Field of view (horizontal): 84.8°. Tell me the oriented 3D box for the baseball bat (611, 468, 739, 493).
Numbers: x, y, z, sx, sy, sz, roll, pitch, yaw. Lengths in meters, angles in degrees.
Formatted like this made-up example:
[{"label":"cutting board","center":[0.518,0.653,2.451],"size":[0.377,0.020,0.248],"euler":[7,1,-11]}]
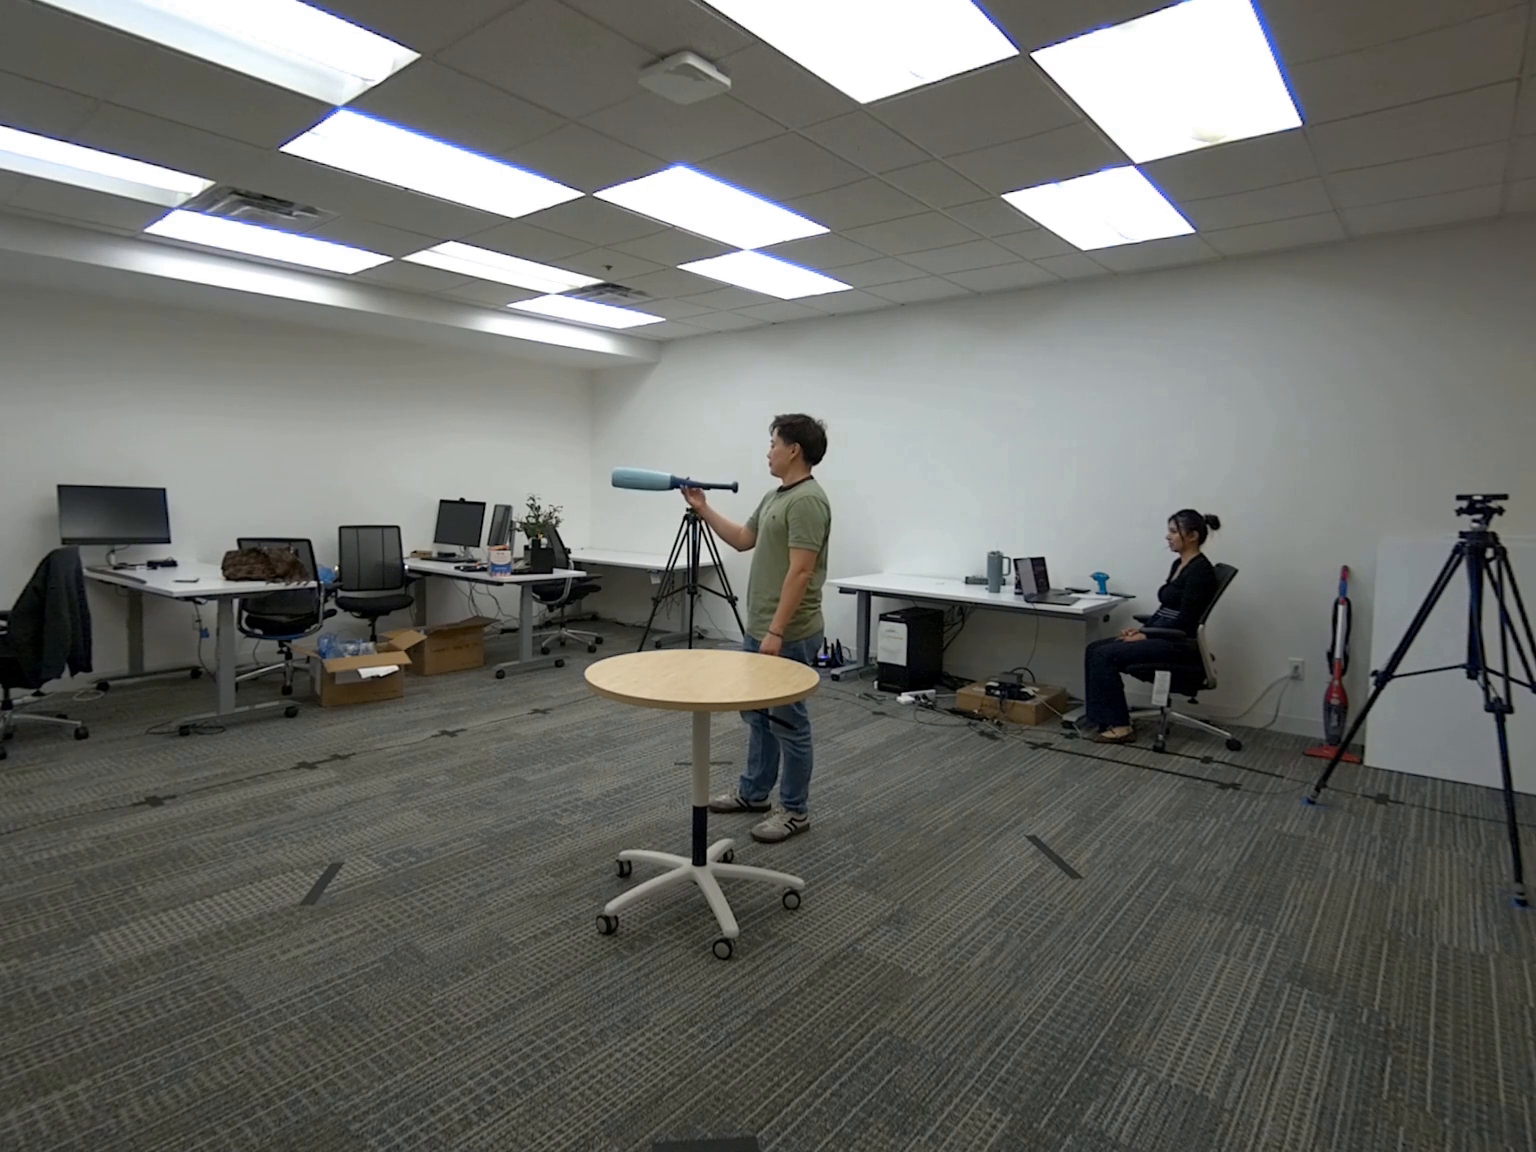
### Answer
[{"label":"baseball bat","center":[-0.414,-0.396,3.635],"size":[0.541,0.089,0.089],"euler":[5,4,-2]}]
